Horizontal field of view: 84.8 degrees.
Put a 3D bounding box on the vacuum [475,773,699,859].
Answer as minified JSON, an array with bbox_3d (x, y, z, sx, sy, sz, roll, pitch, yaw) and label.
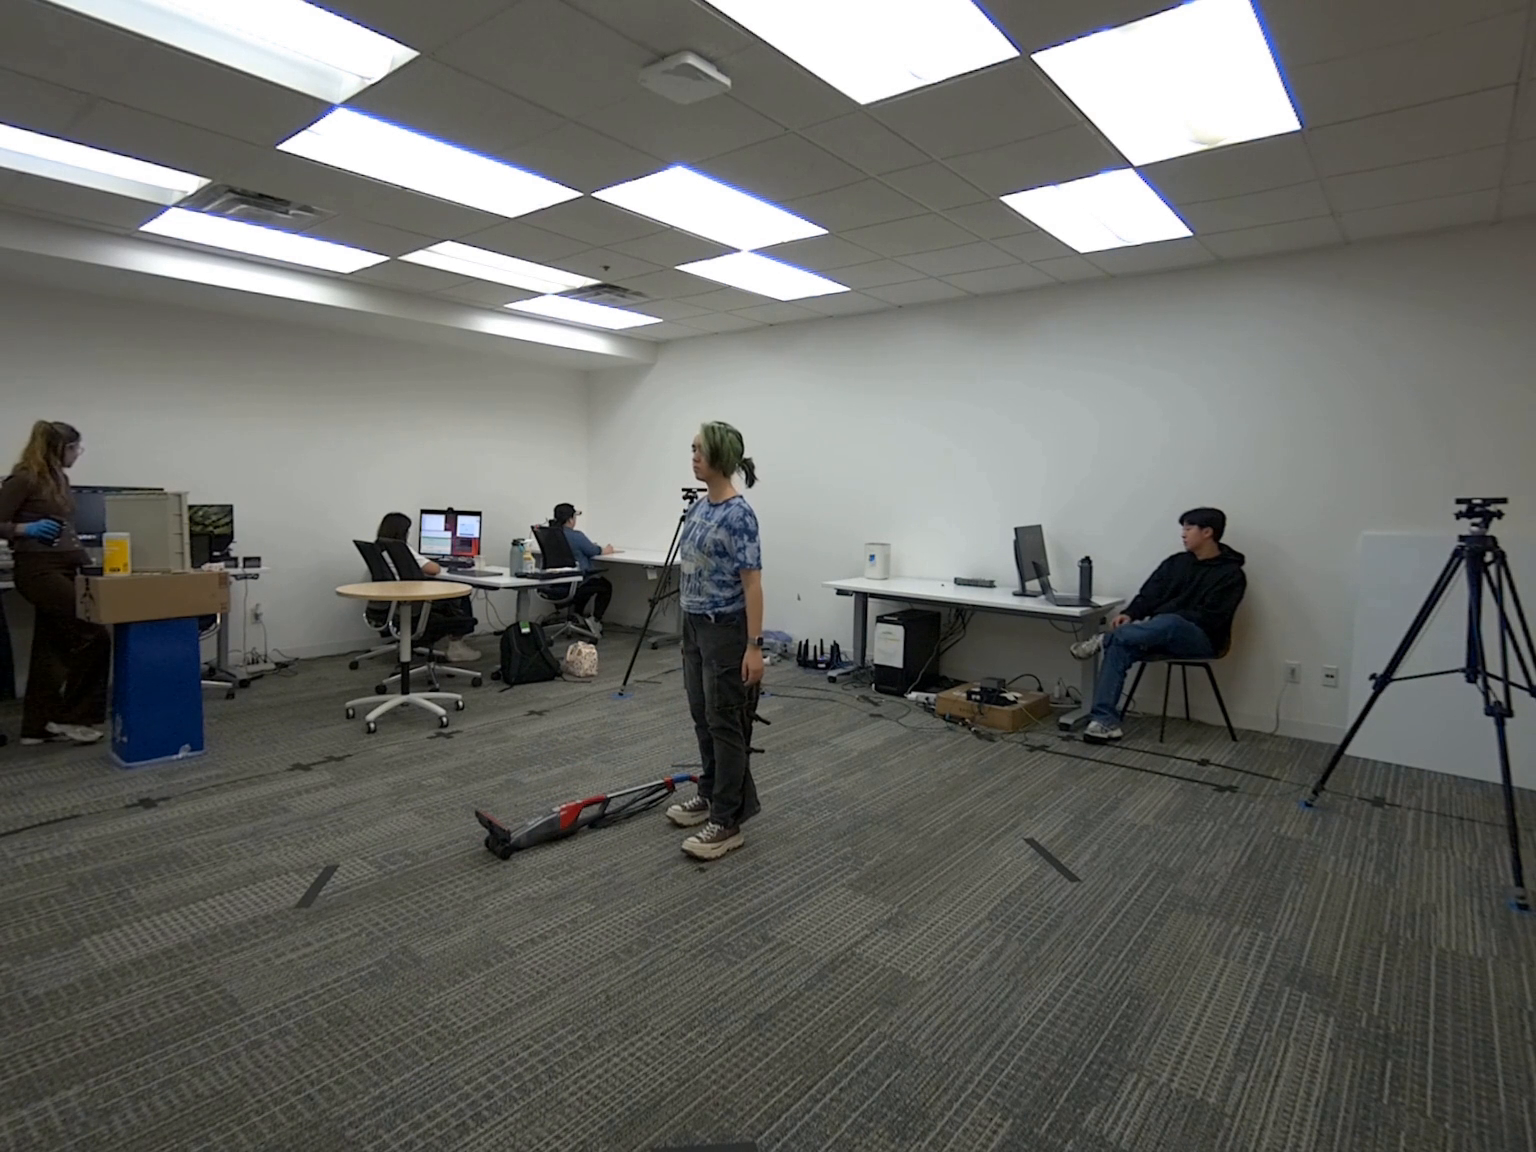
[{"bbox_3d":[-0.680,0.962,3.526,1.017,0.143,0.262,-2,8,-43],"label":"vacuum"}]
